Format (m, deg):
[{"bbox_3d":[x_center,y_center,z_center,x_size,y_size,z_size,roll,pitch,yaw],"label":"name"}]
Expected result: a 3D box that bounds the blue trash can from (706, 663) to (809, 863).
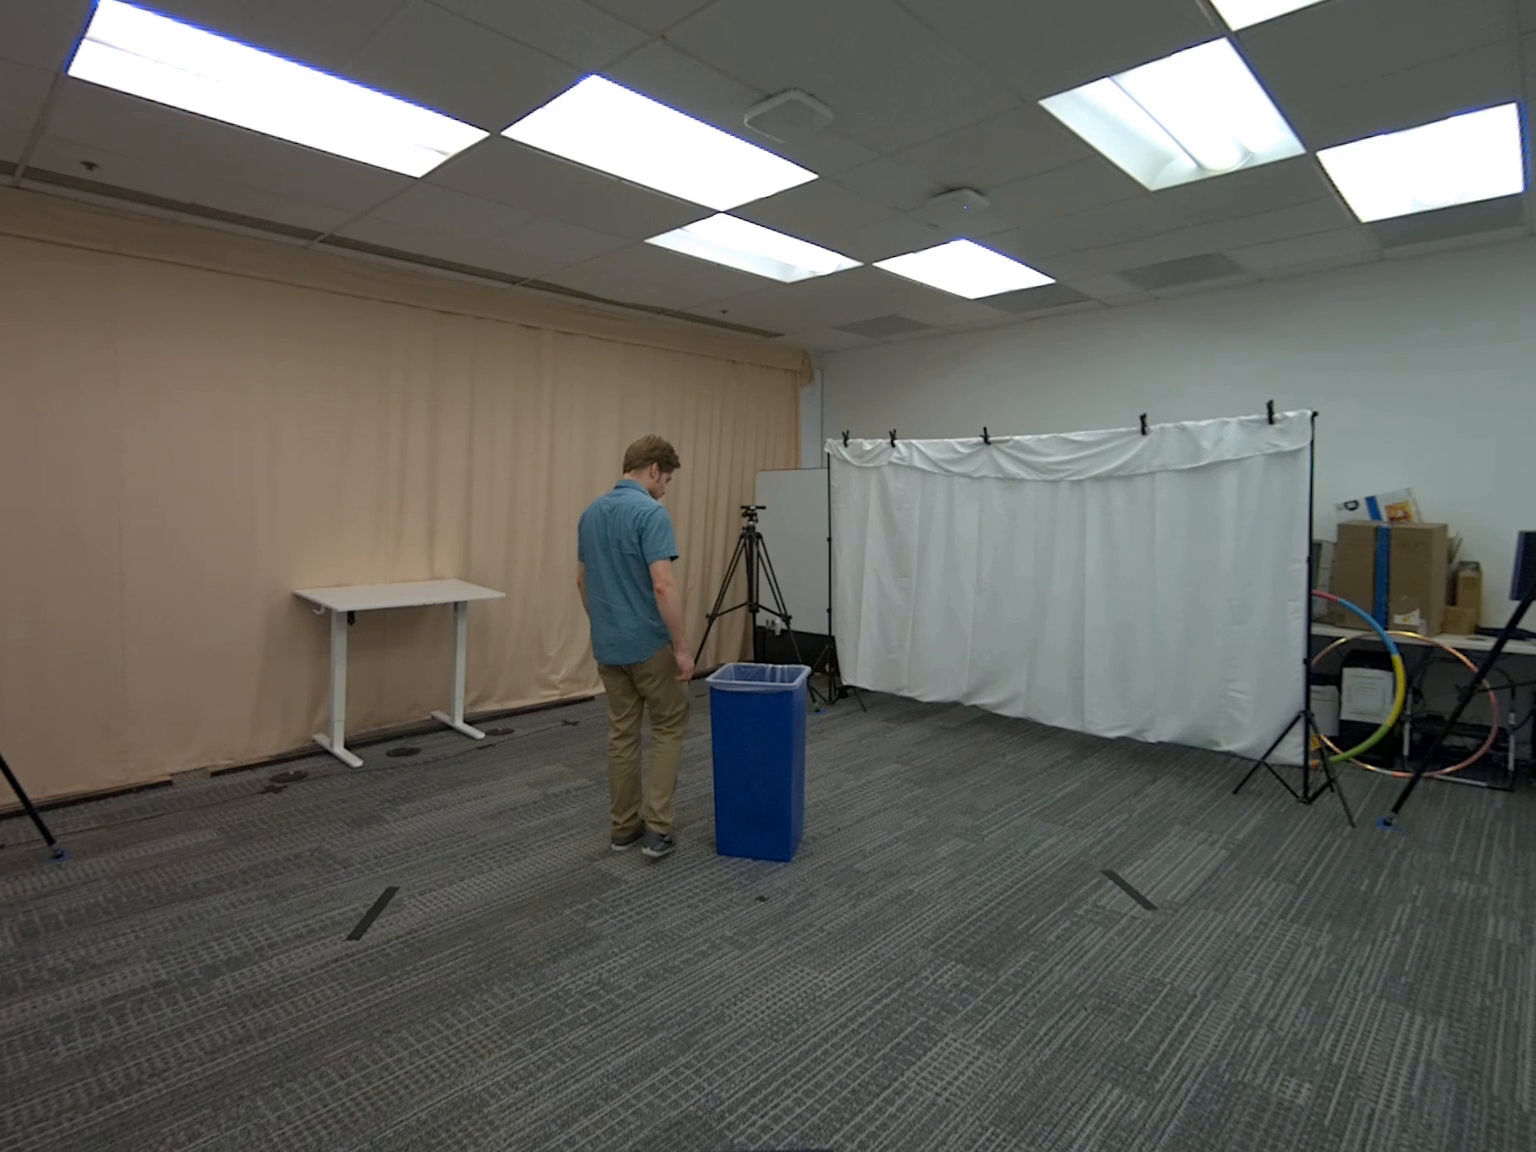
[{"bbox_3d":[-0.027,0.750,3.436,0.384,0.712,0.369,0,3,13],"label":"blue trash can"}]
